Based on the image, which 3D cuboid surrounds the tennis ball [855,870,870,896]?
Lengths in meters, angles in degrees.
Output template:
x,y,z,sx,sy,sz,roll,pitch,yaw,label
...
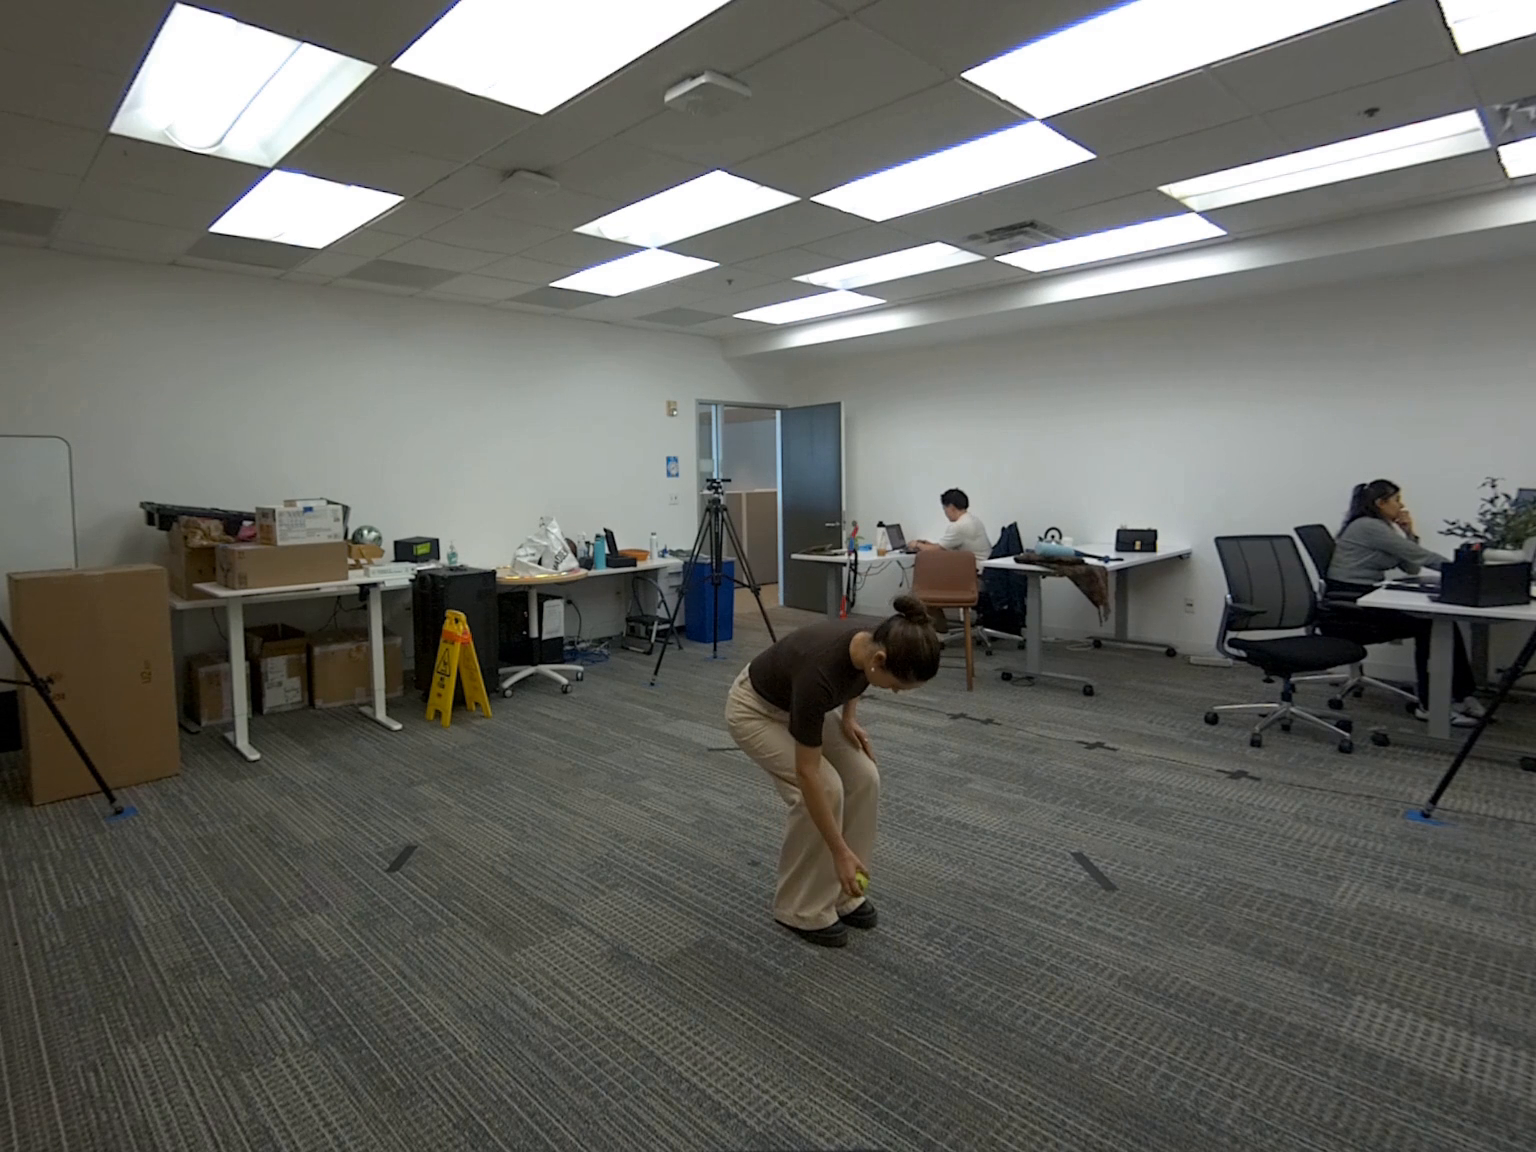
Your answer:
x,y,z,sx,sy,sz,roll,pitch,yaw,label
0.240,0.869,2.473,0.066,0.066,0.067,-1,5,-2,tennis ball
